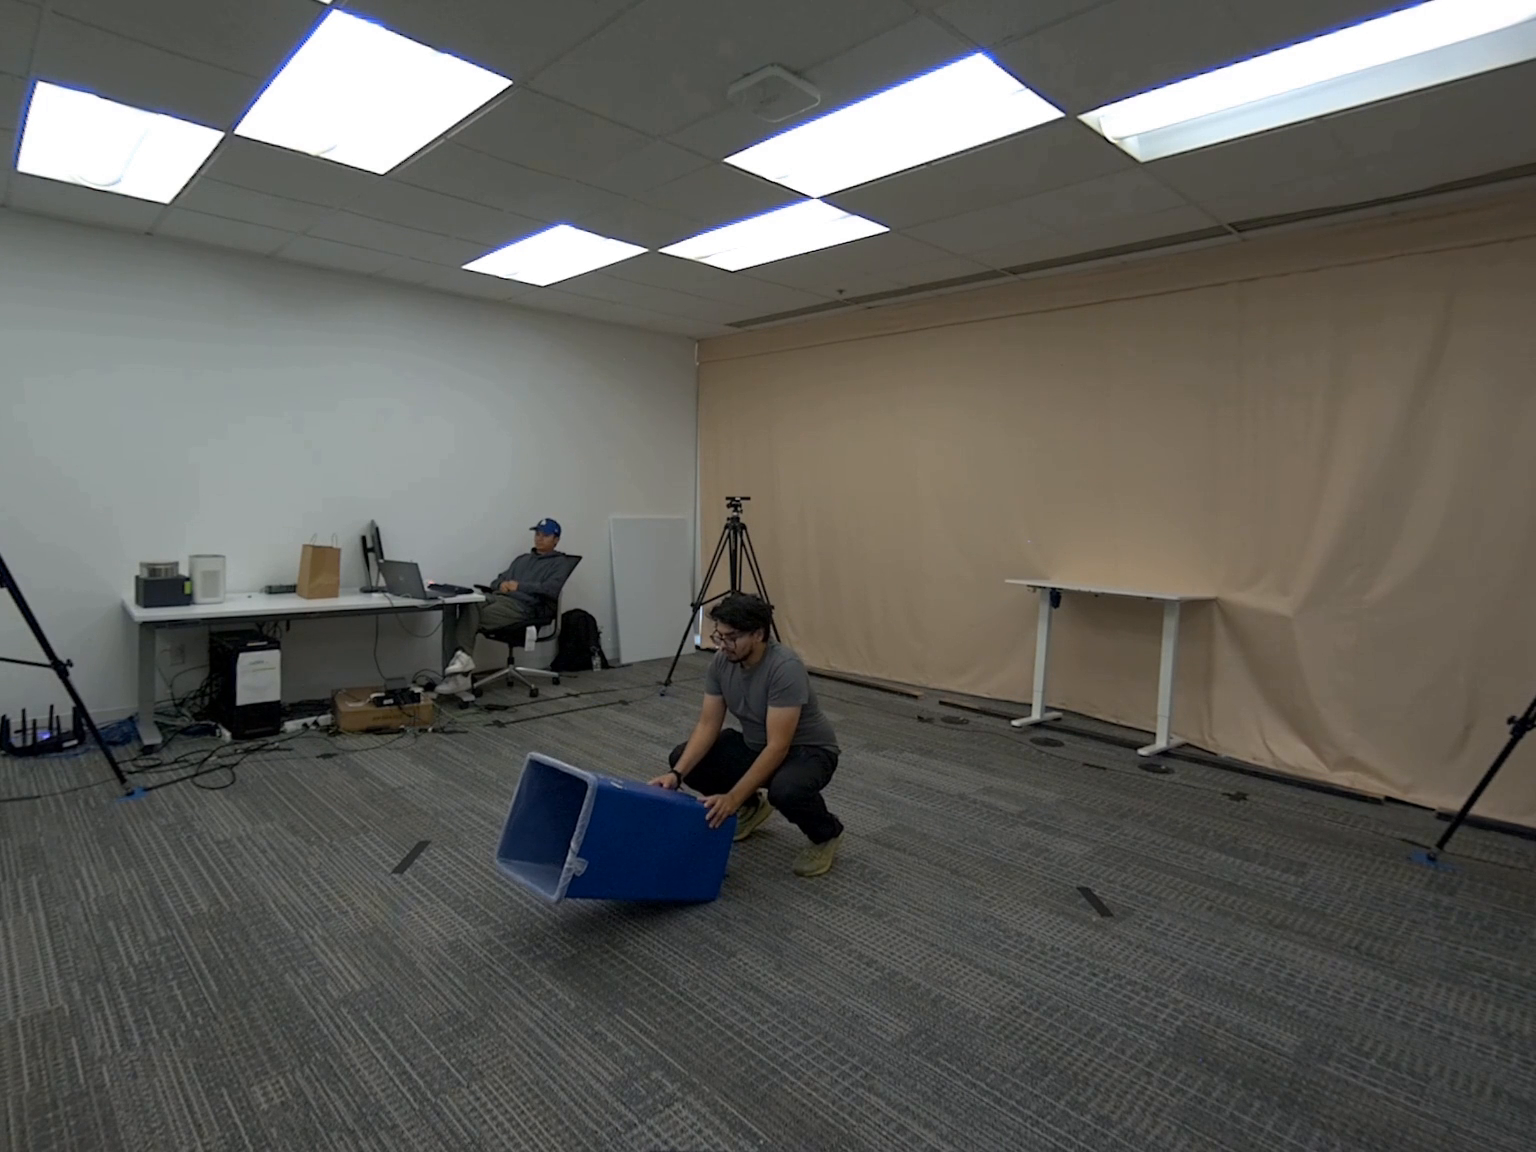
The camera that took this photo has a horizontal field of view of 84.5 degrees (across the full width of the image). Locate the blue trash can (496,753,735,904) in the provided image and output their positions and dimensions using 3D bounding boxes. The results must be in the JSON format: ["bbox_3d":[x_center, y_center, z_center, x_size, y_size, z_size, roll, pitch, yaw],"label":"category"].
[{"bbox_3d":[-0.485,0.868,2.795,0.384,0.380,0.691,5,-15,43],"label":"blue trash can"}]
